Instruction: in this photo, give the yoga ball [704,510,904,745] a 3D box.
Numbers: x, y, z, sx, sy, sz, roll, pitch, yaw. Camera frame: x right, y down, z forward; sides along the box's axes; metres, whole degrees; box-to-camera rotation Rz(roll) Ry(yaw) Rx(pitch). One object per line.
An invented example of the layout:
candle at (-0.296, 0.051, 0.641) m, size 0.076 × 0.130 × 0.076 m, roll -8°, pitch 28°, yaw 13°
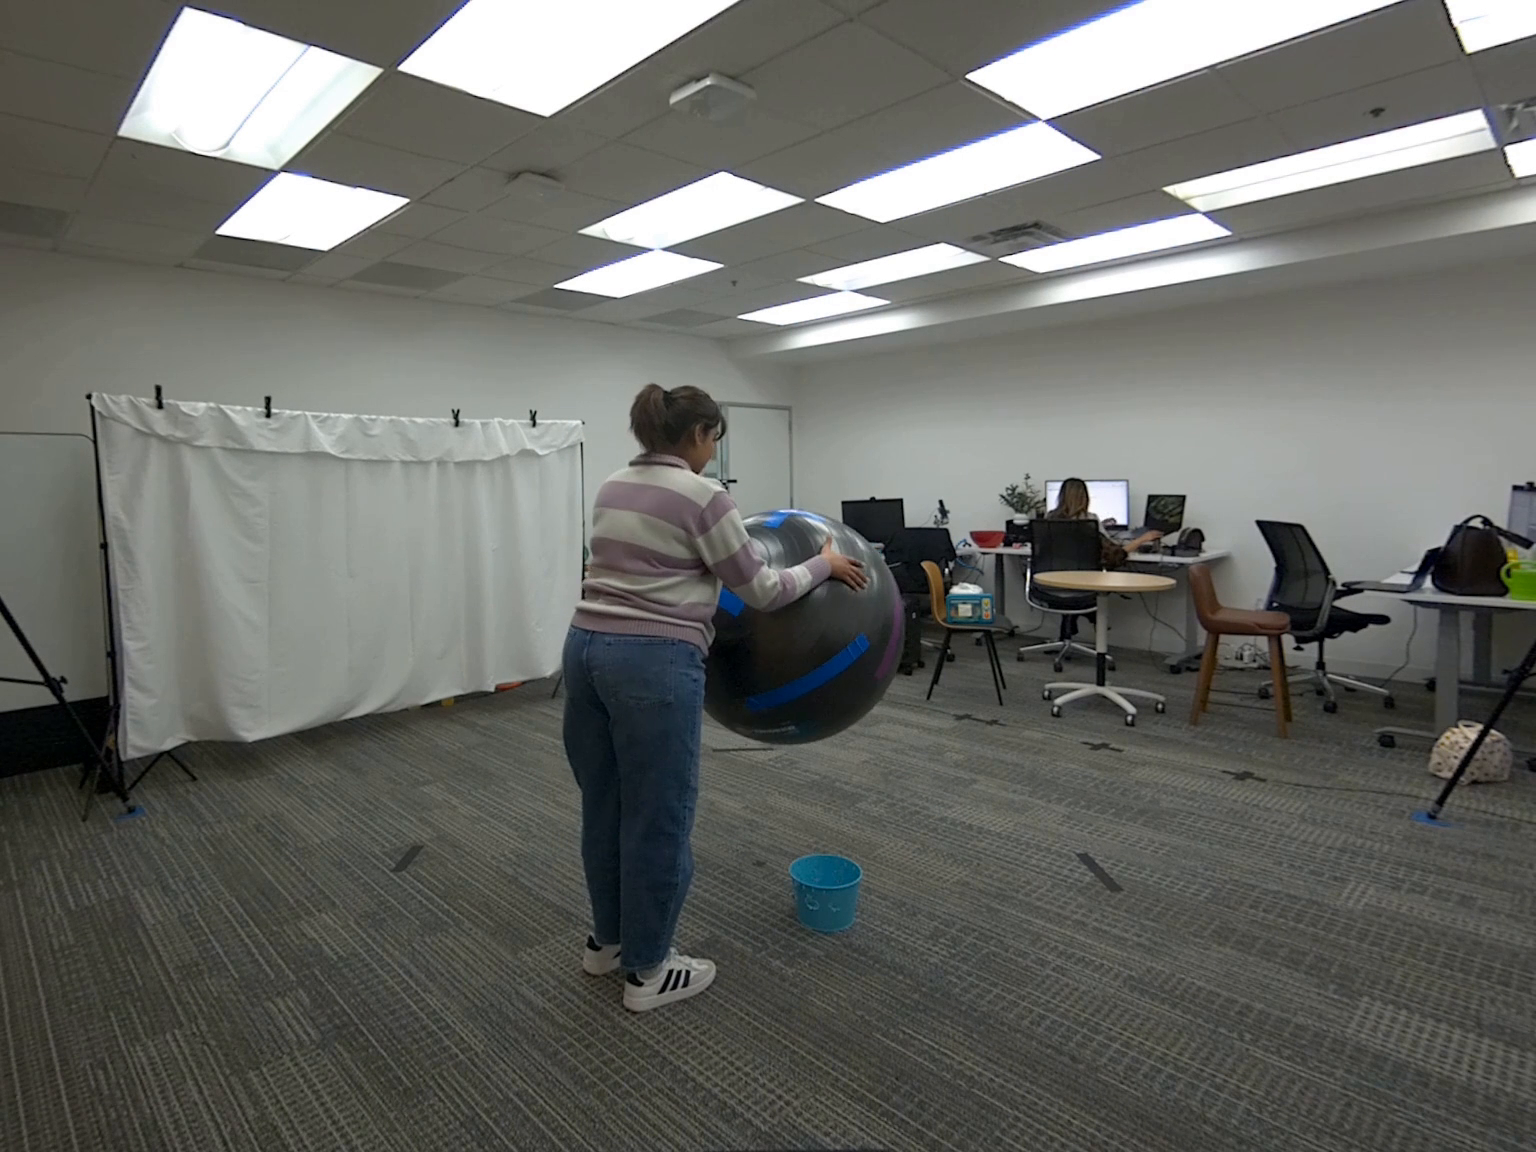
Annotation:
yoga ball at (0.063, 0.174, 2.794) m, size 0.757 × 0.755 × 0.762 m, roll -1°, pitch 5°, yaw -2°
